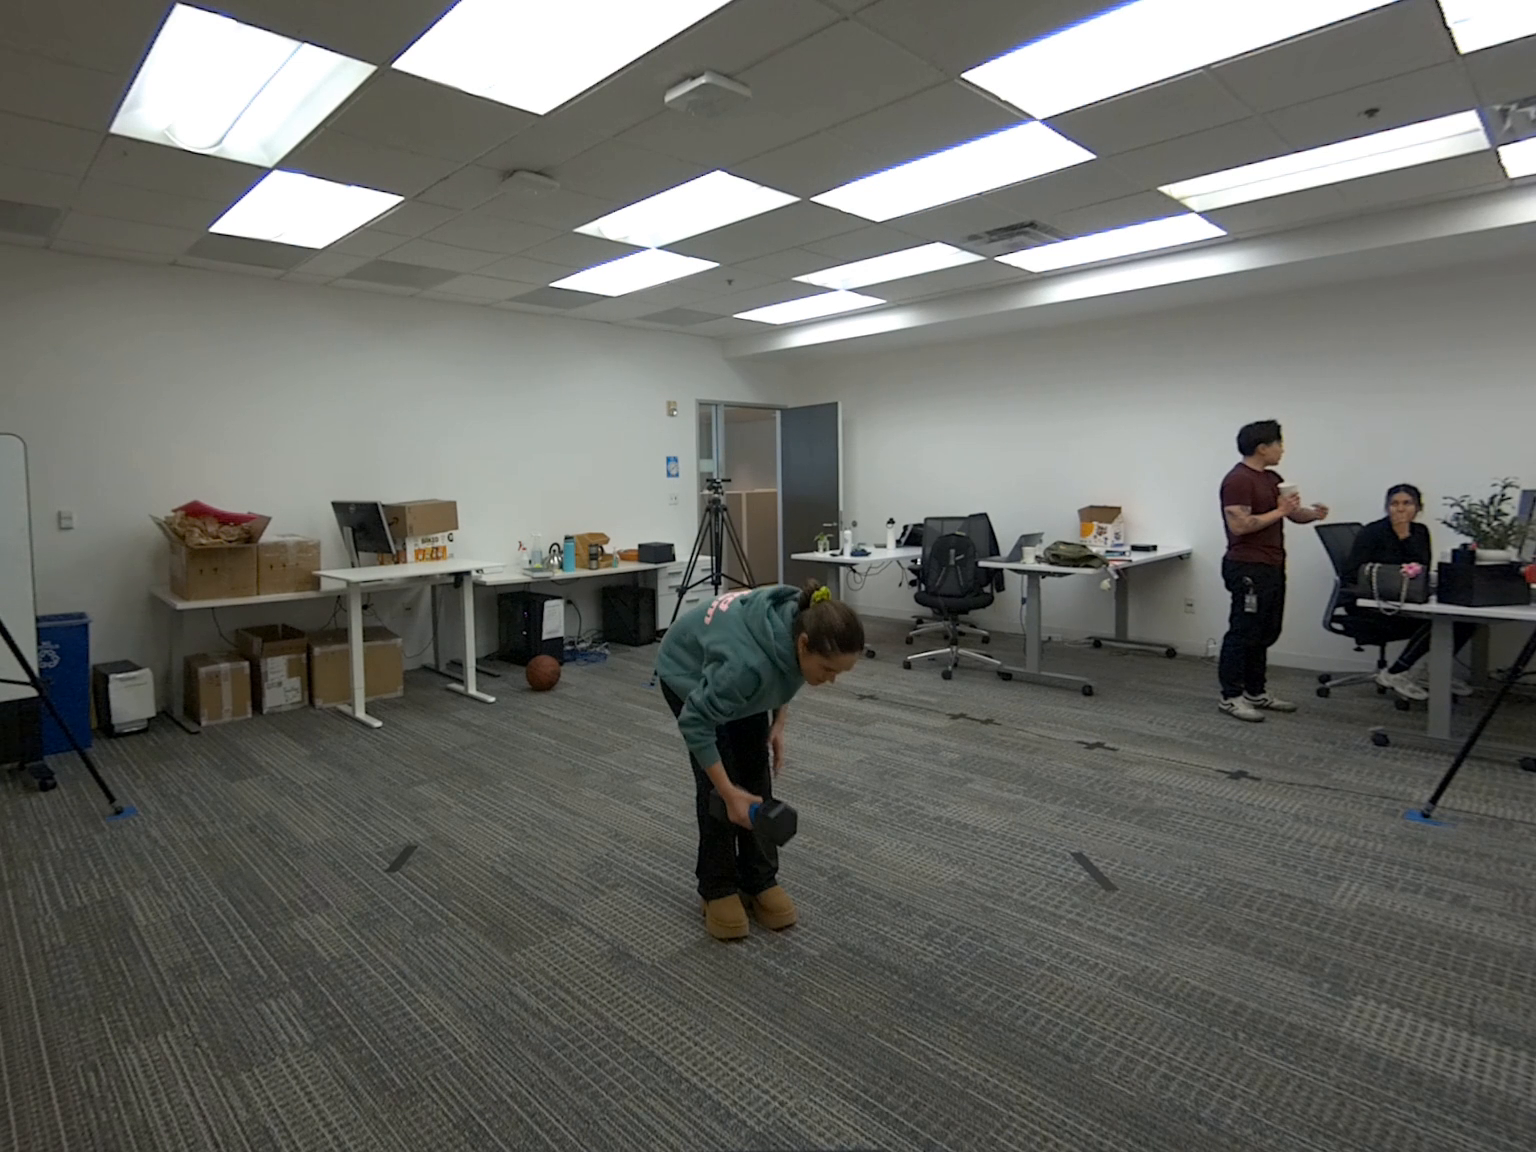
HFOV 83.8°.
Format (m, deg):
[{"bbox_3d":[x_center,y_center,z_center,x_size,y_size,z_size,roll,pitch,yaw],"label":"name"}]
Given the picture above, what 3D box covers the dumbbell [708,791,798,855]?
[{"bbox_3d":[-0.038,0.671,2.416,0.105,0.123,0.302,5,-2,-37],"label":"dumbbell"}]
